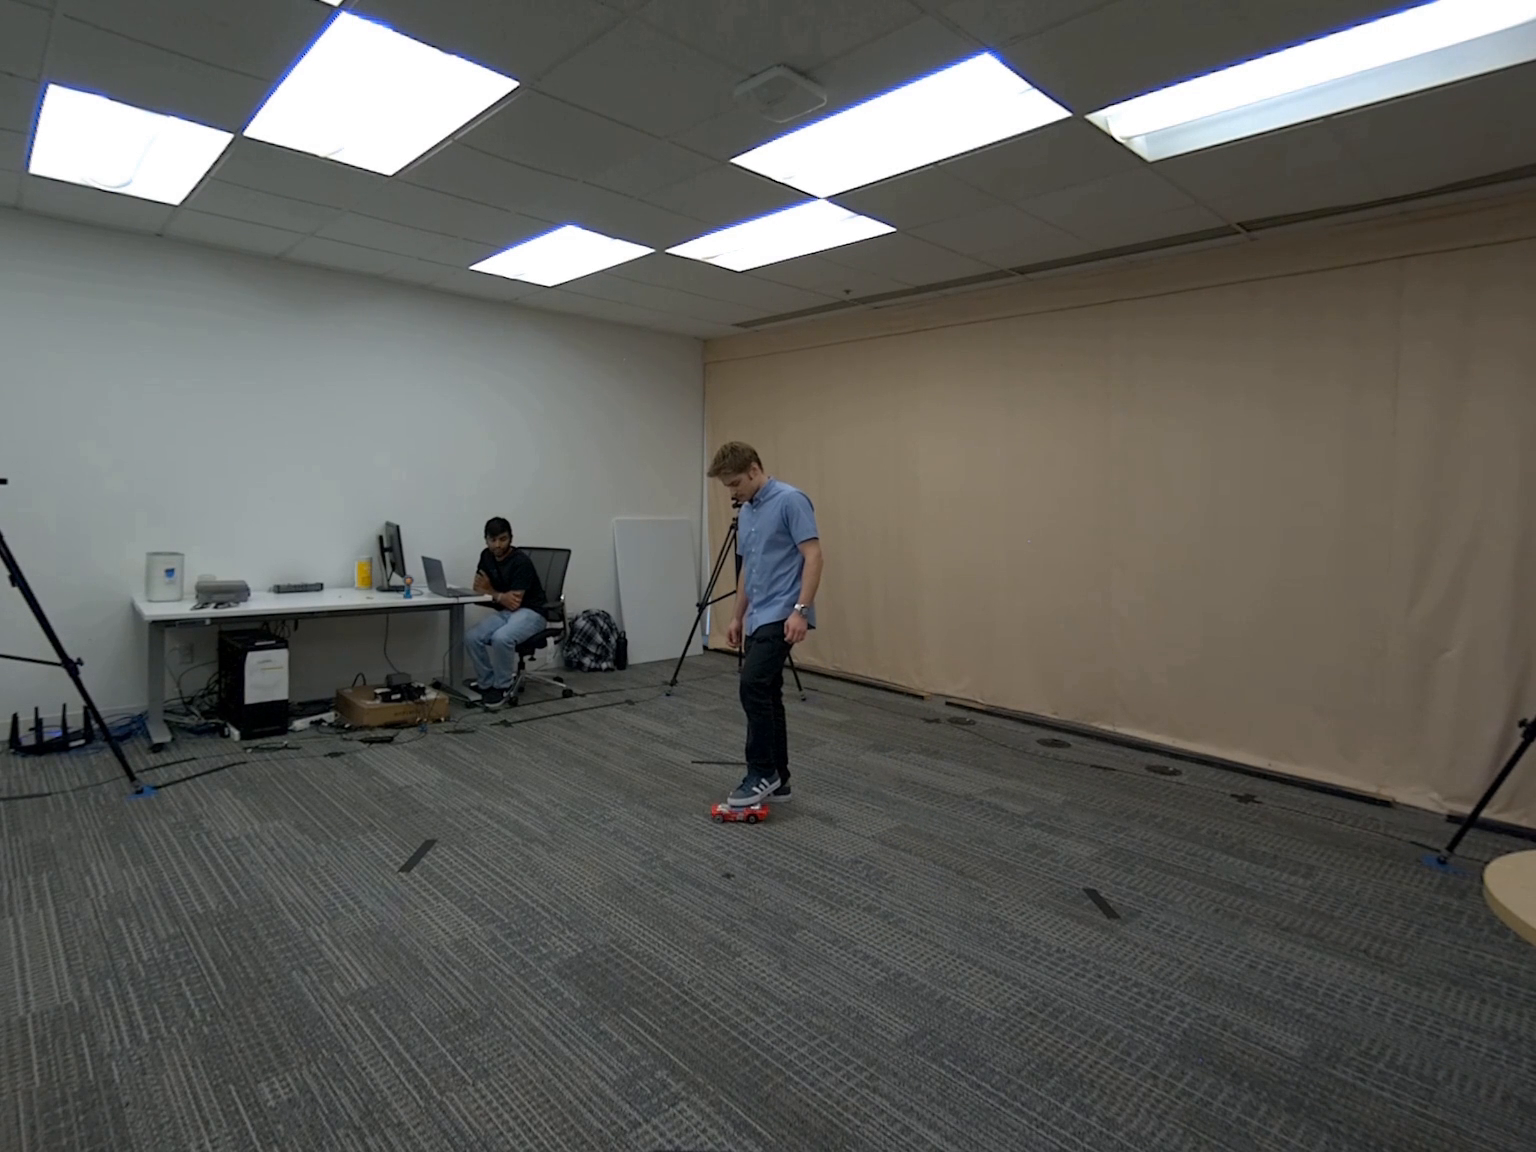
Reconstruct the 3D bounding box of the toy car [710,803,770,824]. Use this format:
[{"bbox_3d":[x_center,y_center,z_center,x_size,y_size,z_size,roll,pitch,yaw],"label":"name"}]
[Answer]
[{"bbox_3d":[-0.129,1.031,3.656,0.254,0.083,0.131,-8,4,0],"label":"toy car"}]
